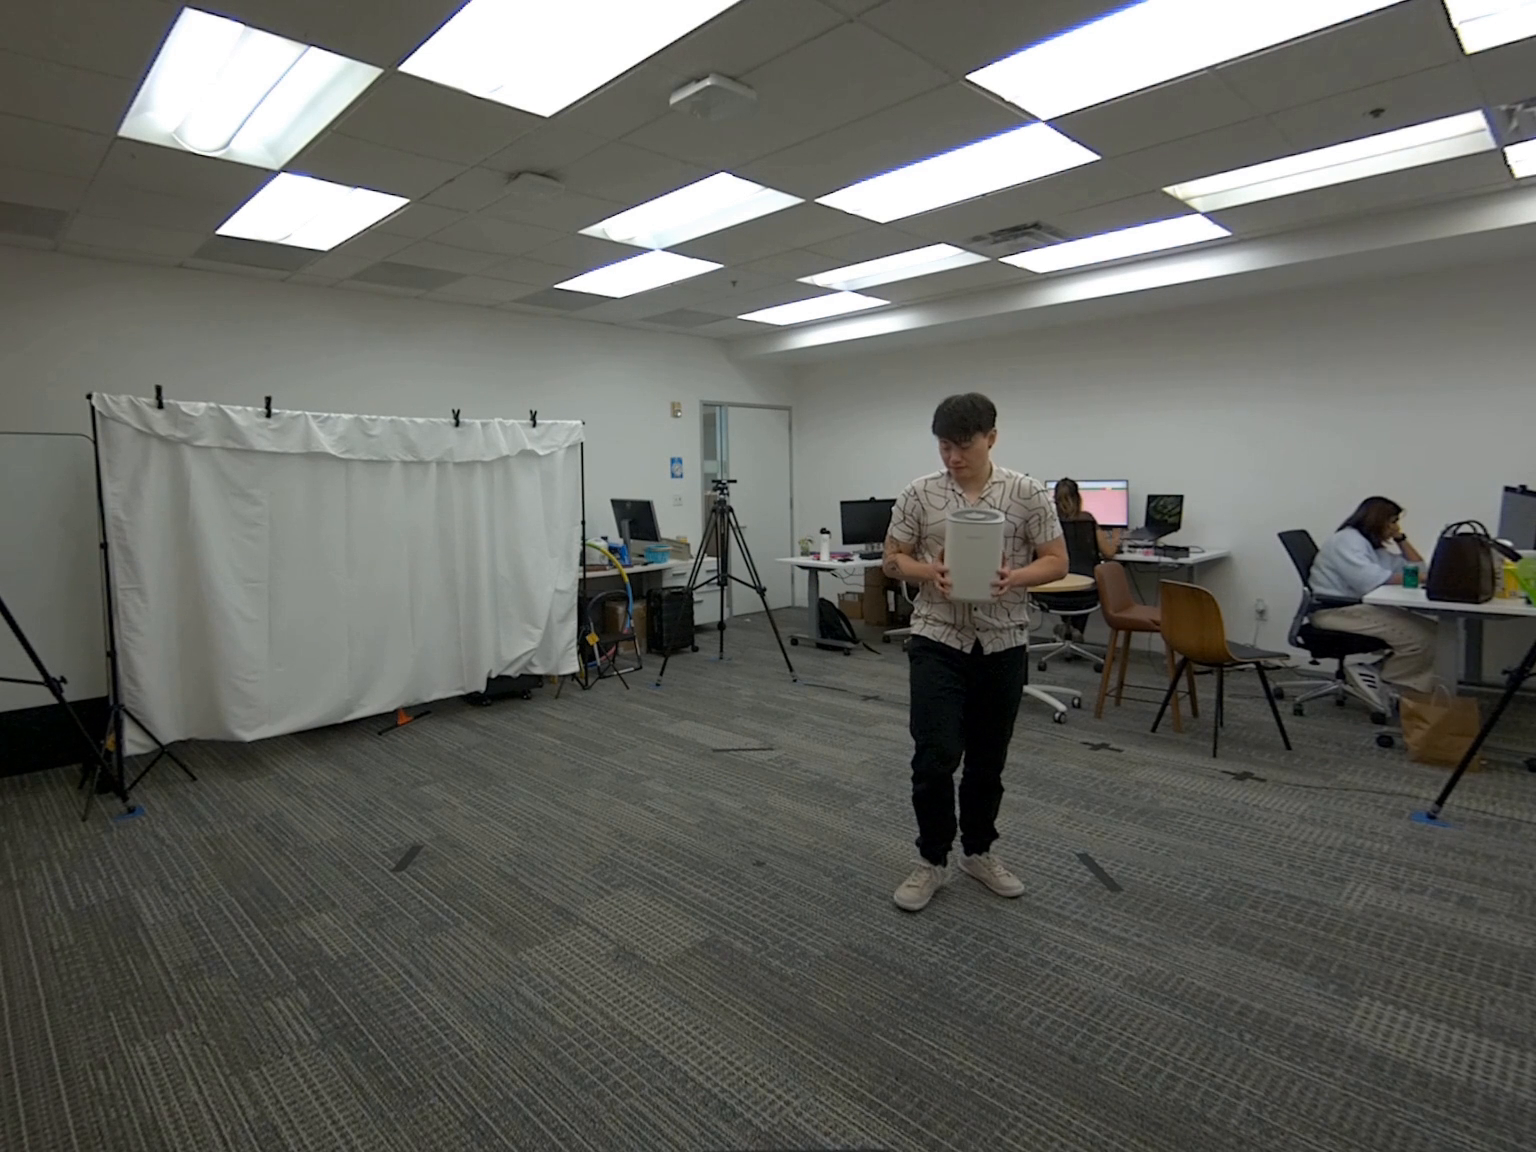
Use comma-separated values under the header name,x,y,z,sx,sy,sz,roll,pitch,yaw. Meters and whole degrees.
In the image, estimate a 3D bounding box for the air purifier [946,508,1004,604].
name,x,y,z,sx,sy,sz,roll,pitch,yaw
air purifier,0.654,-0.065,2.646,0.172,0.261,0.173,-2,16,4
